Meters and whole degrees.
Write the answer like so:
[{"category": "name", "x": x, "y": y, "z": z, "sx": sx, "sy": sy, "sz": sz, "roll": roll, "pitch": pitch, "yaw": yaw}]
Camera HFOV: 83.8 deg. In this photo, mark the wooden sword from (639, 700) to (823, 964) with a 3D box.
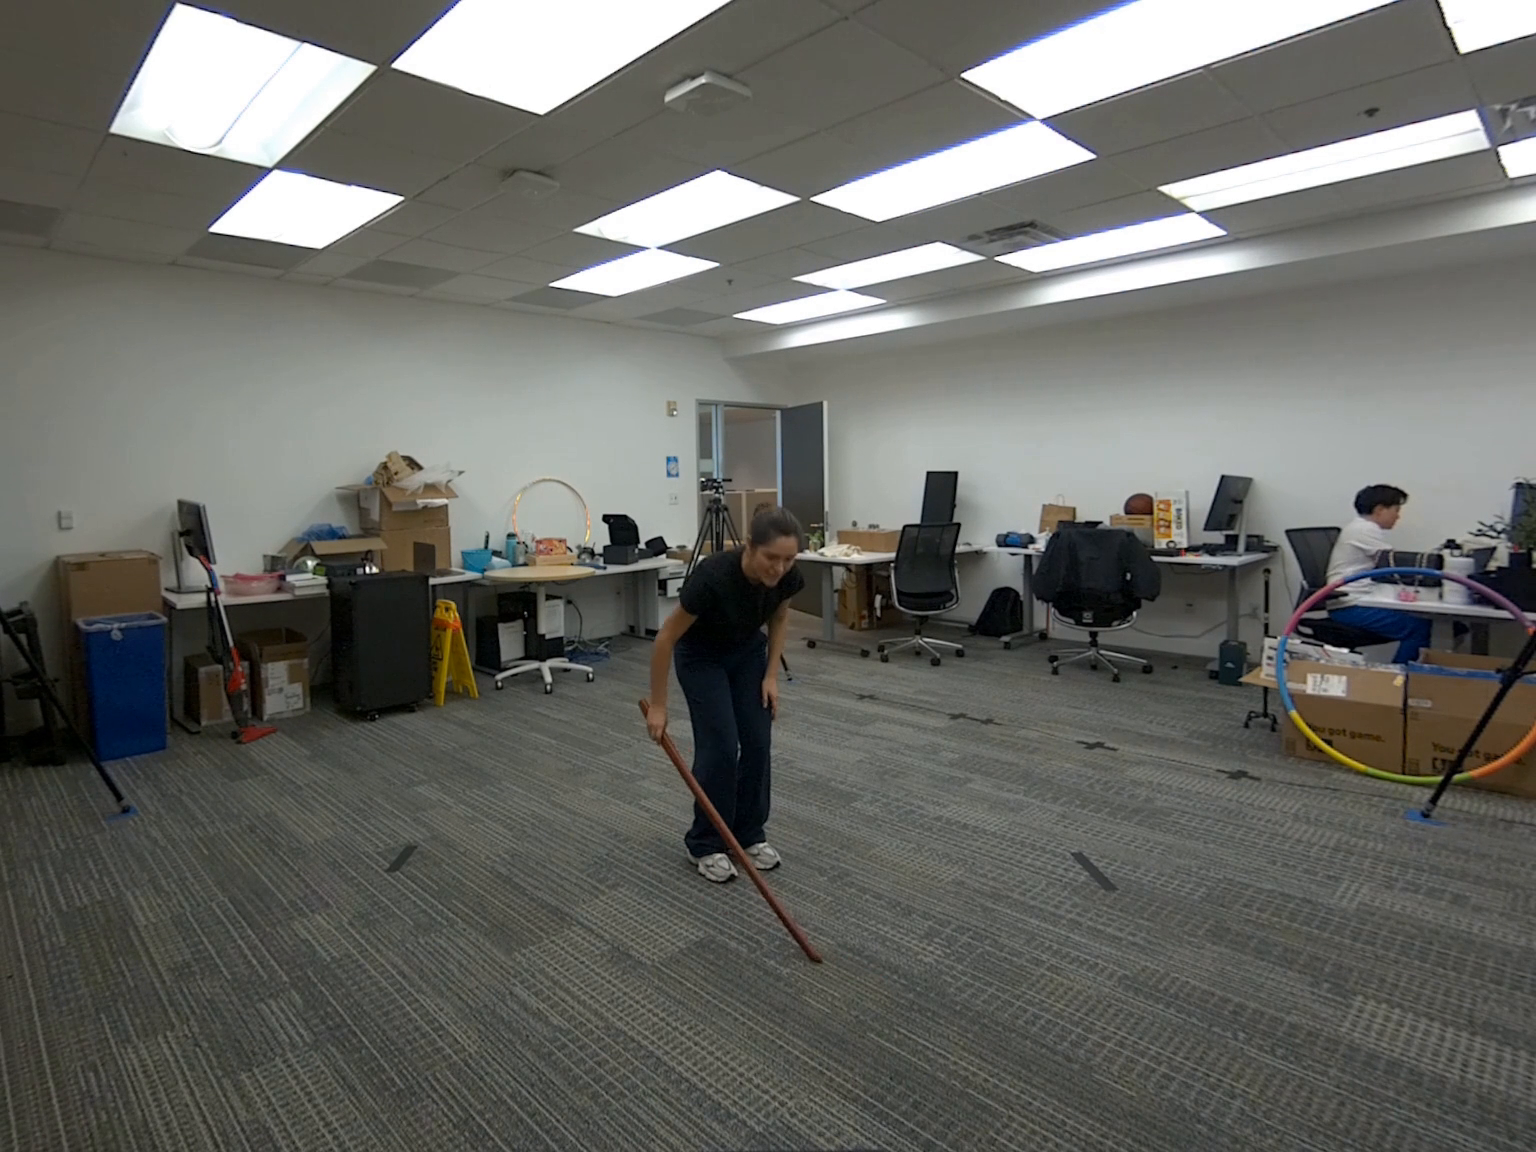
[{"category": "wooden sword", "x": -0.150, "y": 0.794, "z": 2.764, "sx": 1.063, "sy": 0.051, "sz": 0.023, "roll": 47, "pitch": -7, "yaw": 33}]
